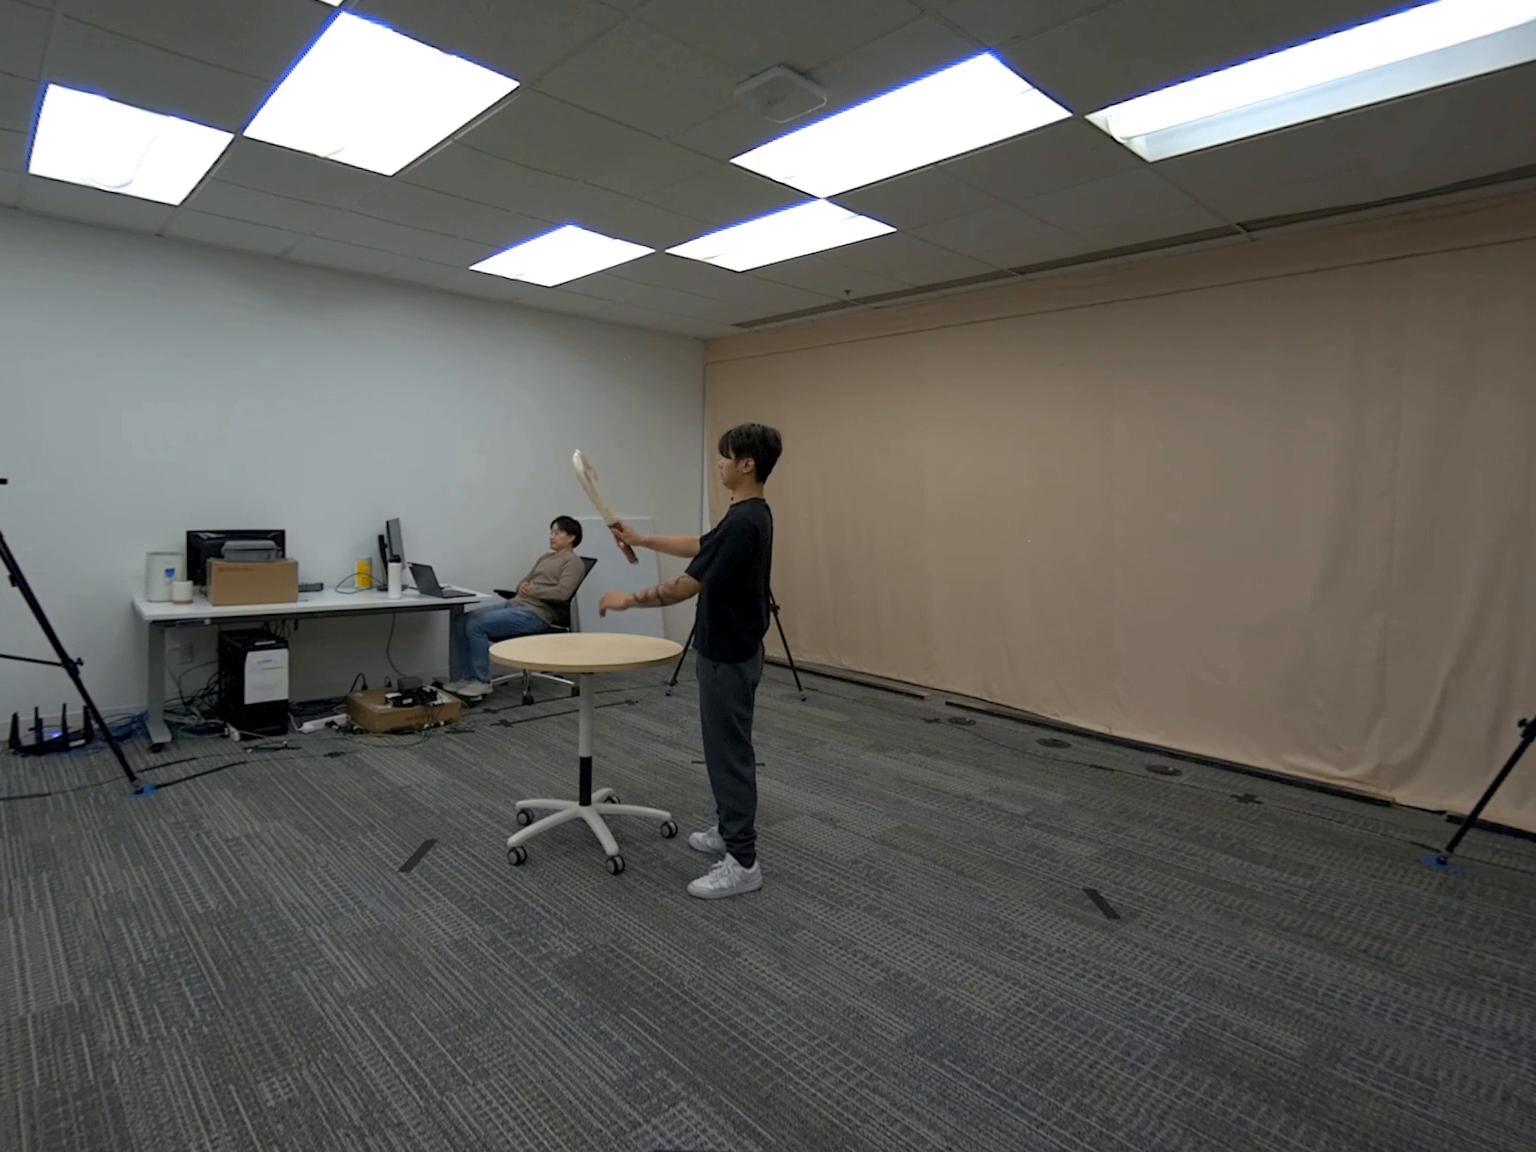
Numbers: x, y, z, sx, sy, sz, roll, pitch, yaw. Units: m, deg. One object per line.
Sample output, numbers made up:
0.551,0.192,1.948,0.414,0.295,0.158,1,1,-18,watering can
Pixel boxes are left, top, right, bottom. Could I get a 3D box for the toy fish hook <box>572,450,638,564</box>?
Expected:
-0.655,-0.262,3.366,0.048,0.496,0.228,-20,22,10,toy fish hook
